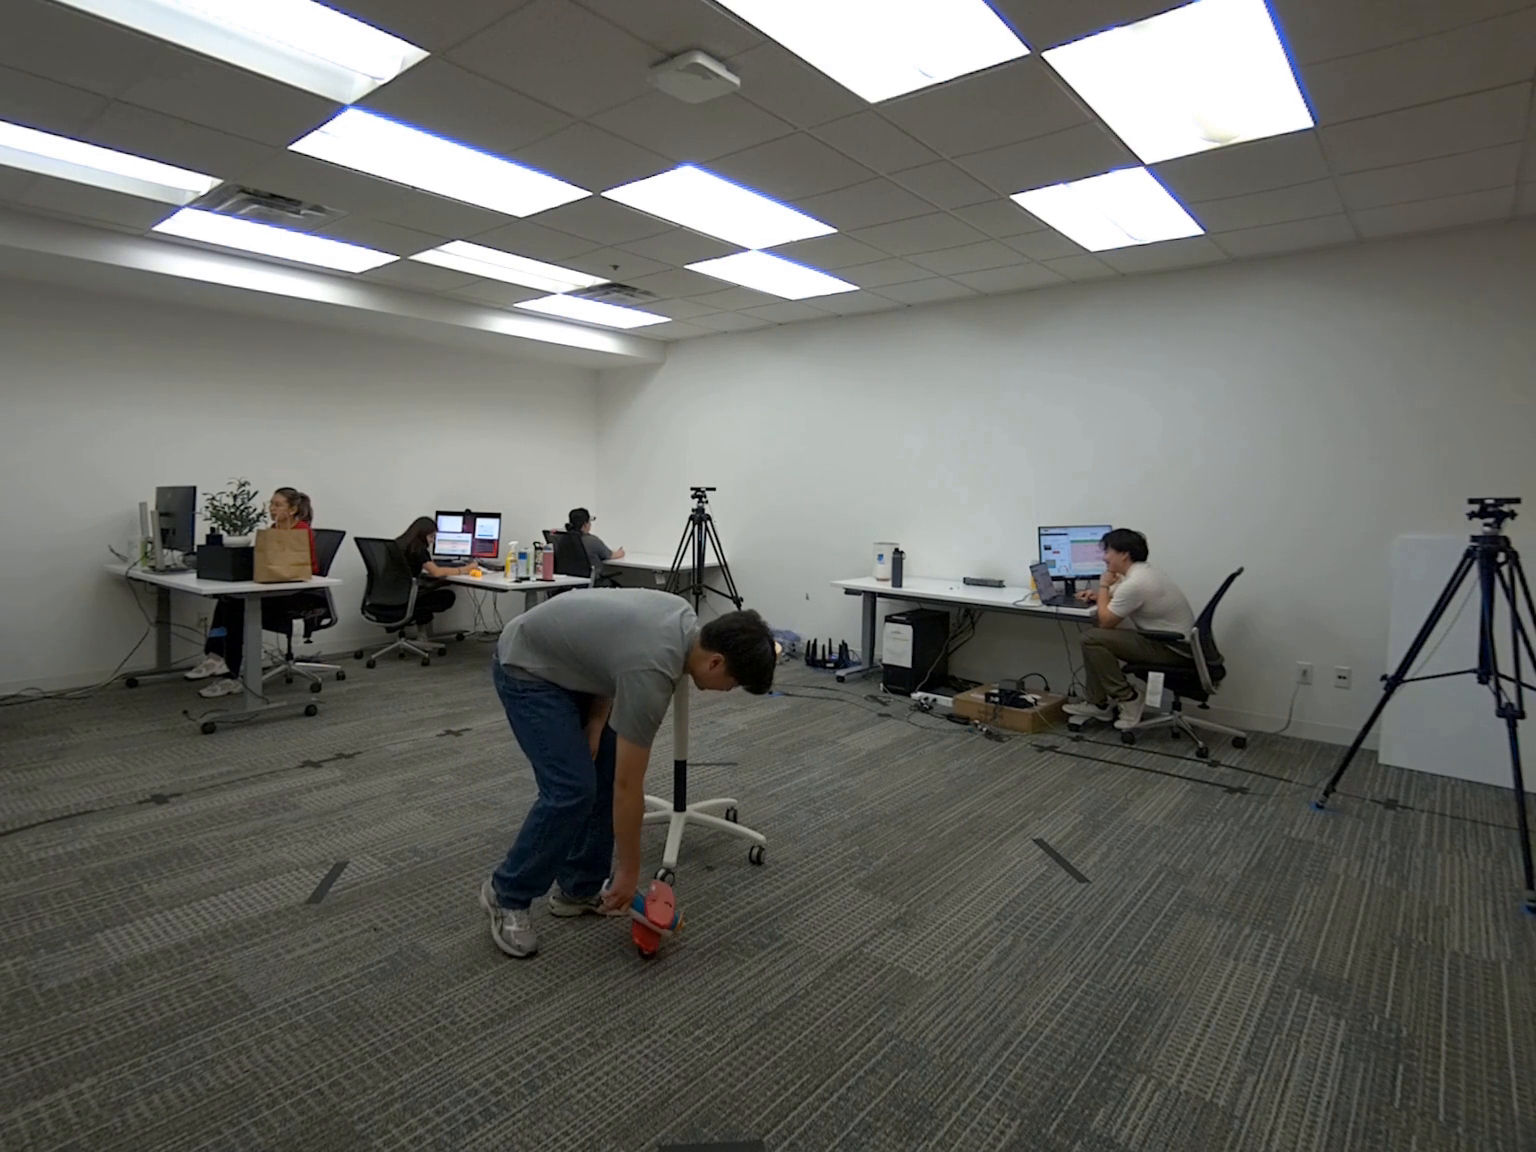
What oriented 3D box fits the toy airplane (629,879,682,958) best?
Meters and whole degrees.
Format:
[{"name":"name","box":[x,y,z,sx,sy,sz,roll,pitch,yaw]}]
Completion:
[{"name":"toy airplane","box":[-0.392,1.012,2.518,0.250,0.156,0.260,42,3,-31]}]
